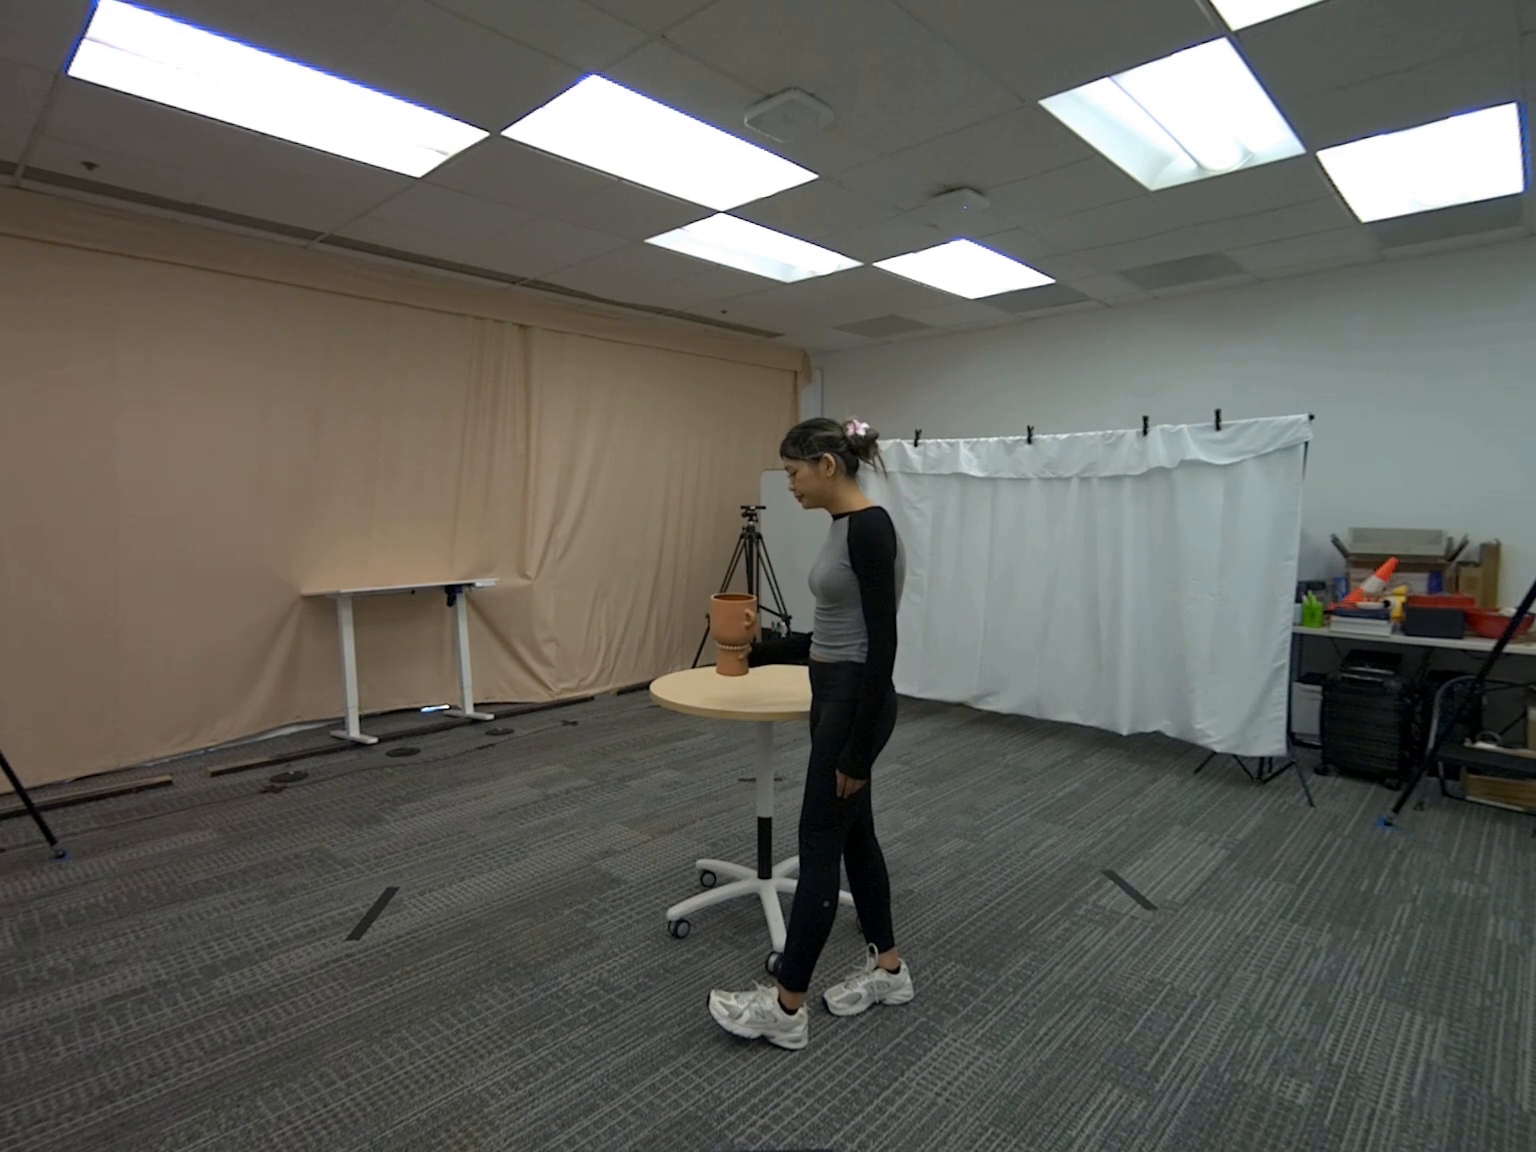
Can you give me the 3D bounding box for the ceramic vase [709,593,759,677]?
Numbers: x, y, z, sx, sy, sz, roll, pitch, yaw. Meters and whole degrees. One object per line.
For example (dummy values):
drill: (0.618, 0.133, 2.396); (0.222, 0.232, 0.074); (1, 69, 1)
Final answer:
ceramic vase: (-0.086, 0.169, 2.423); (0.135, 0.219, 0.159); (1, 8, 0)
